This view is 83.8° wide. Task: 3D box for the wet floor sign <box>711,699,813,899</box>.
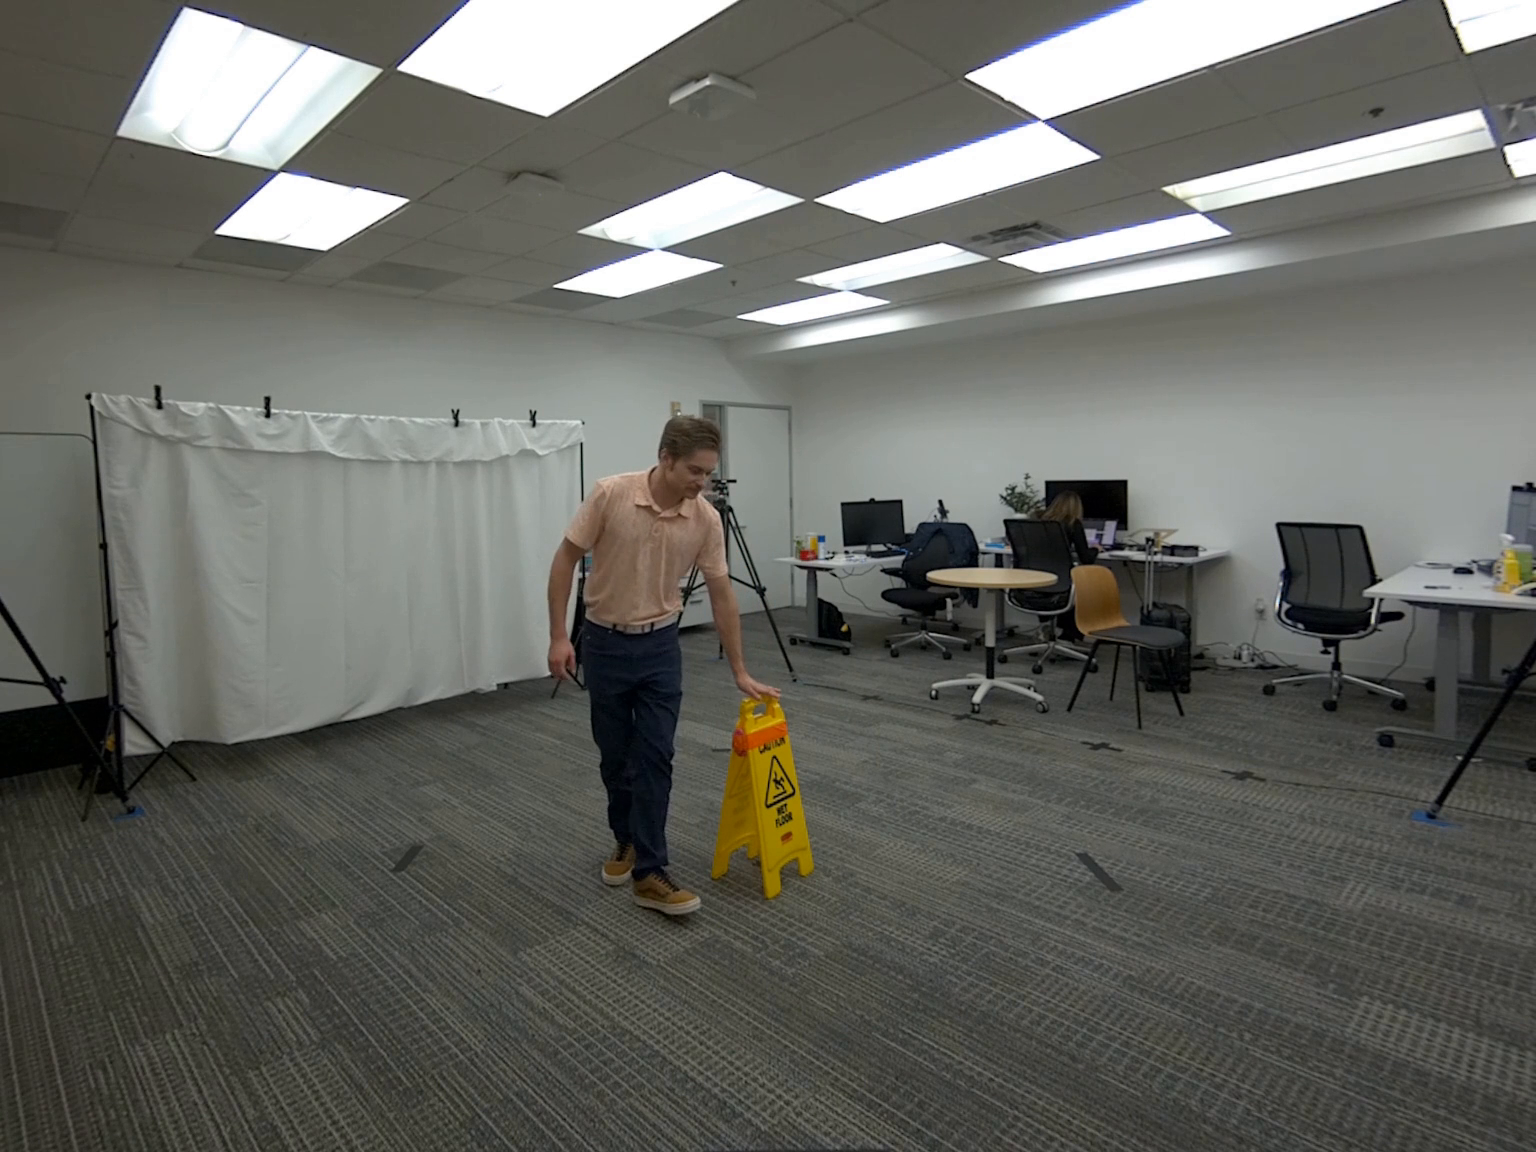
[{"bbox_3d":[-0.025,0.730,3.008,0.298,0.644,0.275,2,4,38],"label":"wet floor sign"}]
